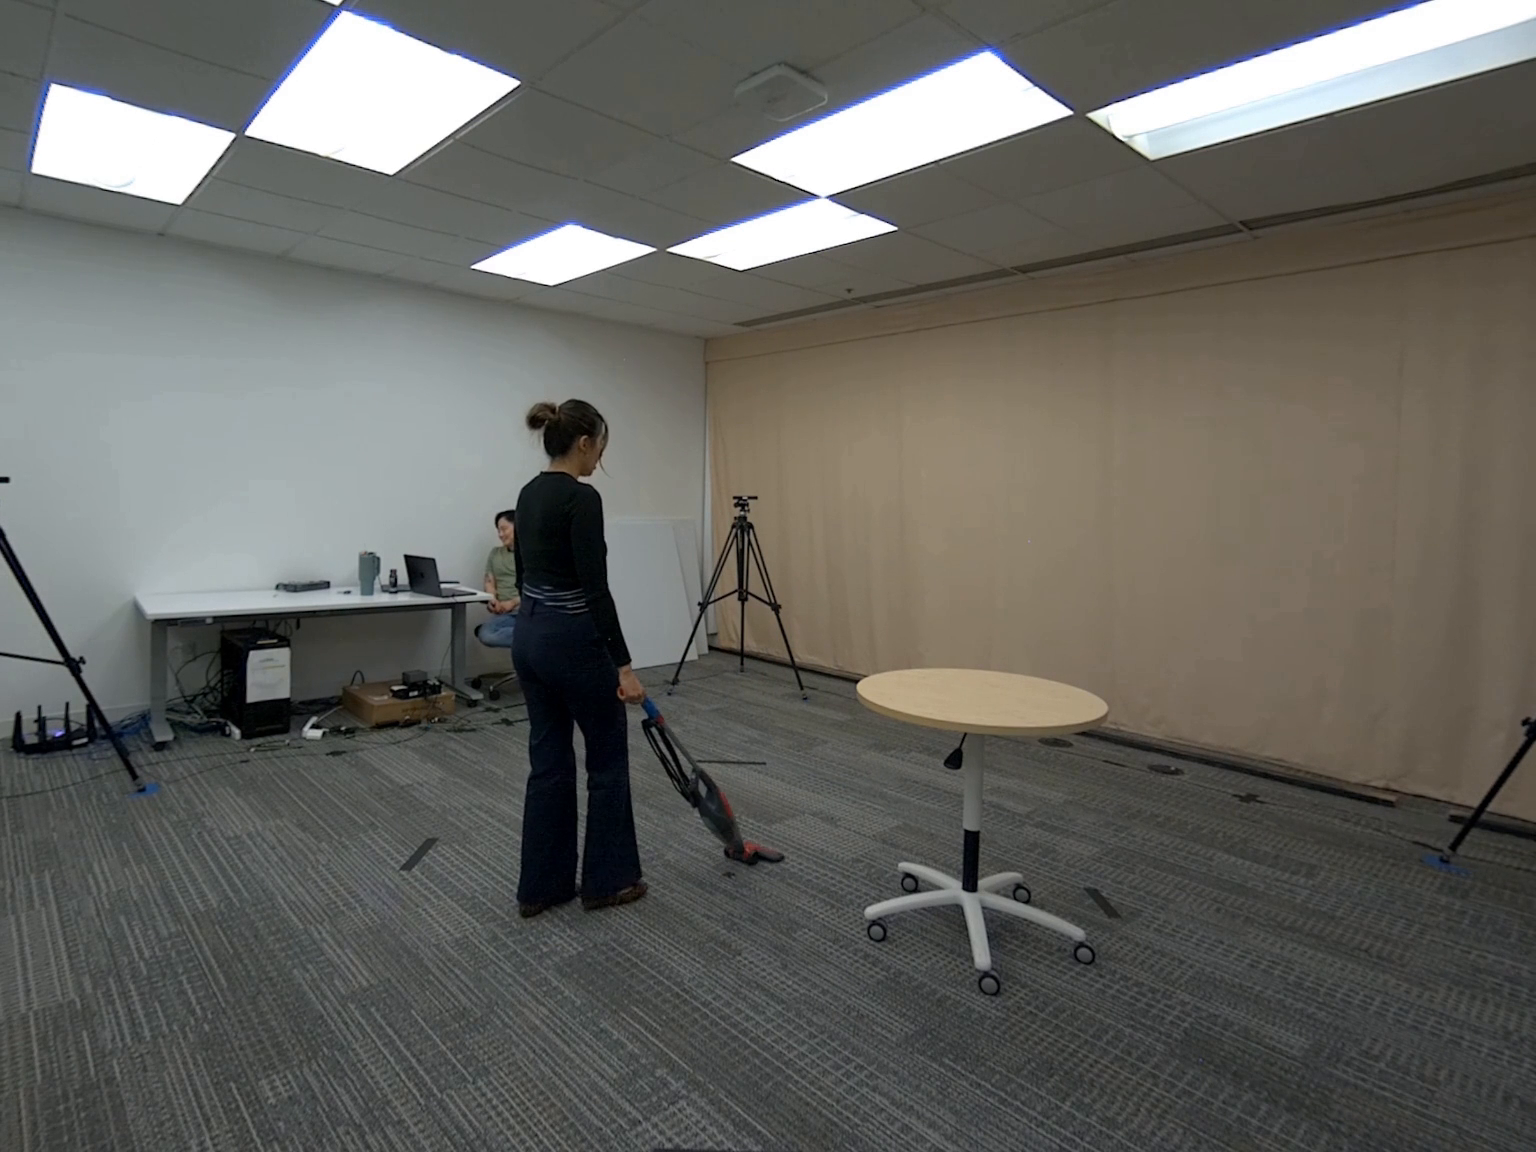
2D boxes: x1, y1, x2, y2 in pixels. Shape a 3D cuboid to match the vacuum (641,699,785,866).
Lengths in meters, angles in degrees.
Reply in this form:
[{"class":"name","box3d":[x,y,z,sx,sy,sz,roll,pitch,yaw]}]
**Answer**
[{"class":"vacuum","box3d":[-0.261,0.726,2.975,0.258,1.019,0.145,2,46,33]}]
